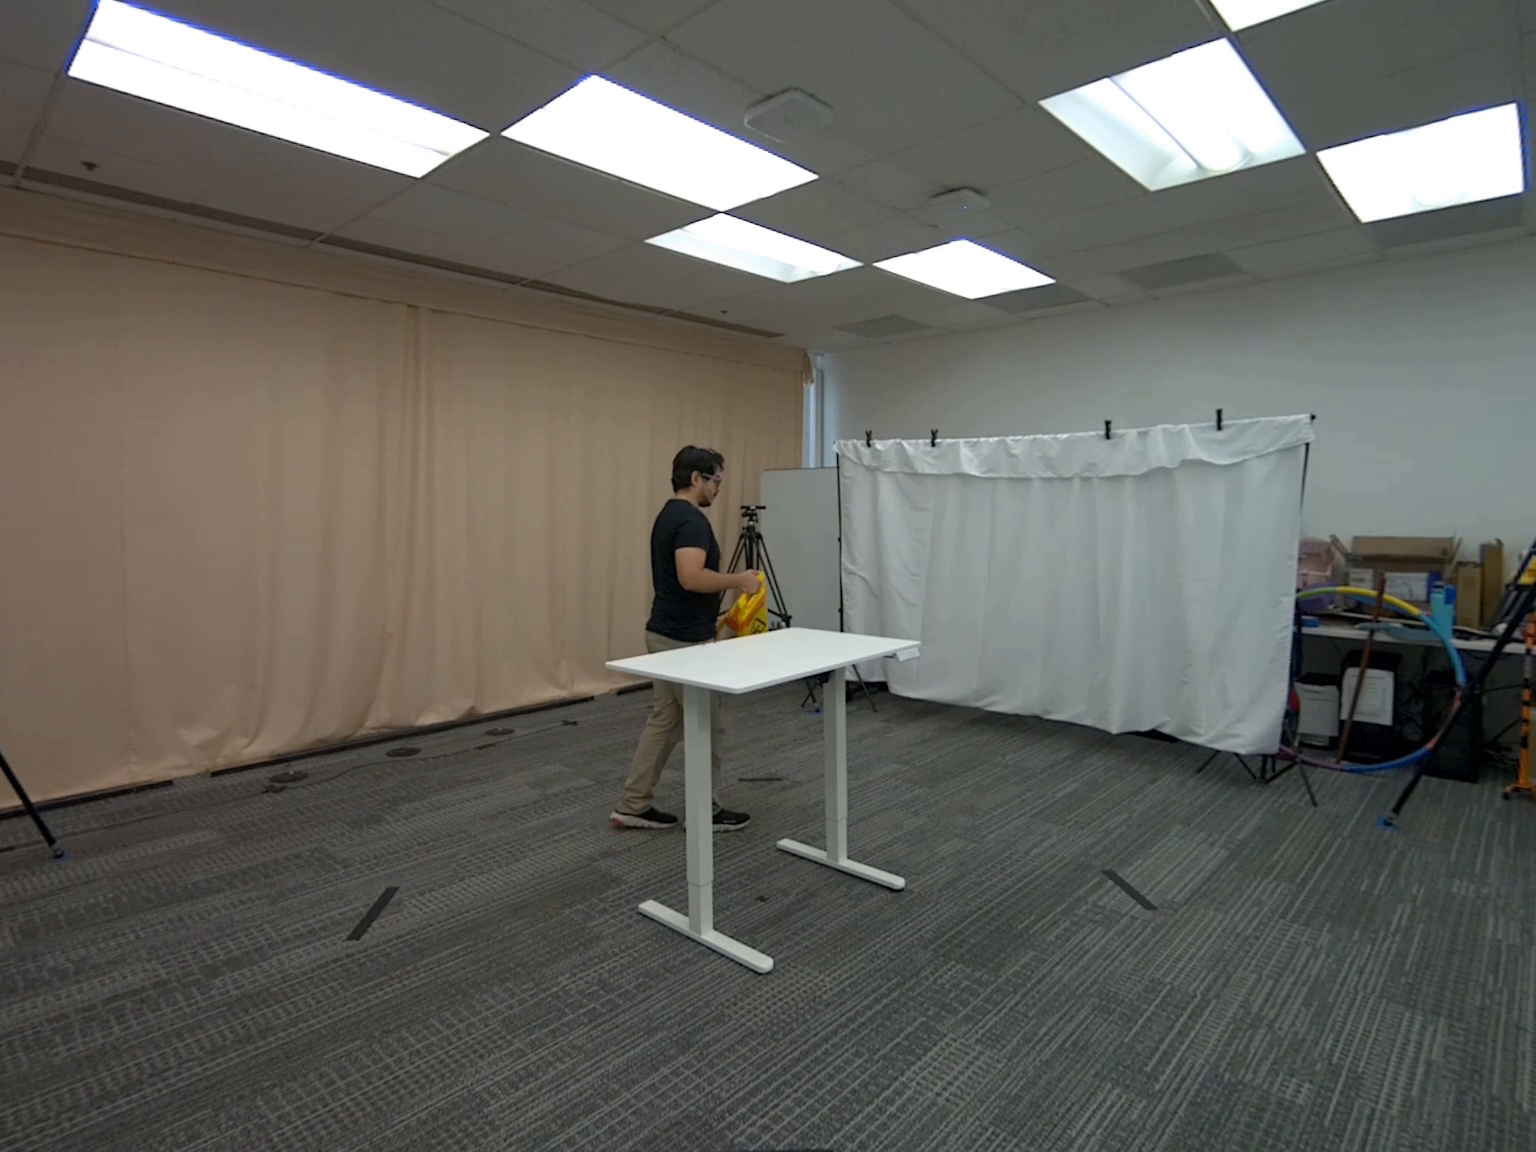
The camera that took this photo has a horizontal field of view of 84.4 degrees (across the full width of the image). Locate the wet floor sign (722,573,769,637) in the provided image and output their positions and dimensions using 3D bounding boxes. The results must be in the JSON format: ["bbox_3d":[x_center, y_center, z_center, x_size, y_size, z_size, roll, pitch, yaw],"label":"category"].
[{"bbox_3d":[-0.121,0.216,3.786,0.293,0.281,0.640,32,-31,9],"label":"wet floor sign"}]
